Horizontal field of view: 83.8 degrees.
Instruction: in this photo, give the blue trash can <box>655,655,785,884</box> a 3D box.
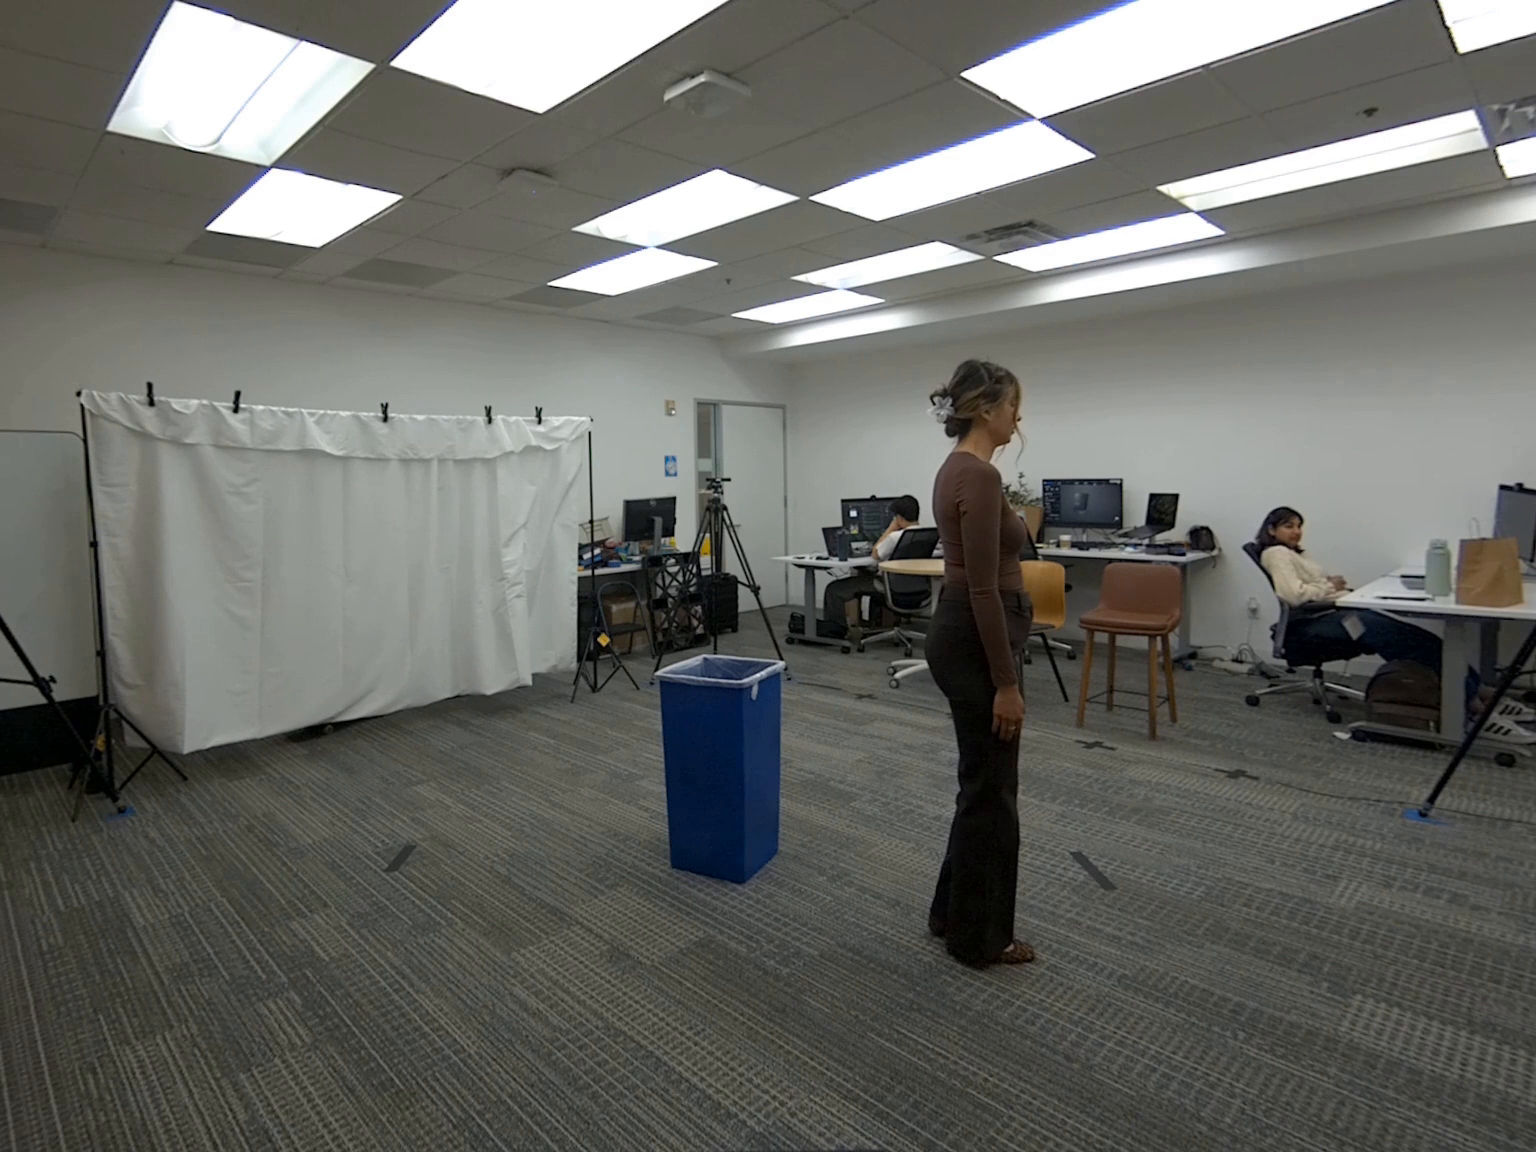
[{"bbox_3d":[-0.157,0.683,3.114,0.387,0.712,0.366,1,3,26],"label":"blue trash can"}]
